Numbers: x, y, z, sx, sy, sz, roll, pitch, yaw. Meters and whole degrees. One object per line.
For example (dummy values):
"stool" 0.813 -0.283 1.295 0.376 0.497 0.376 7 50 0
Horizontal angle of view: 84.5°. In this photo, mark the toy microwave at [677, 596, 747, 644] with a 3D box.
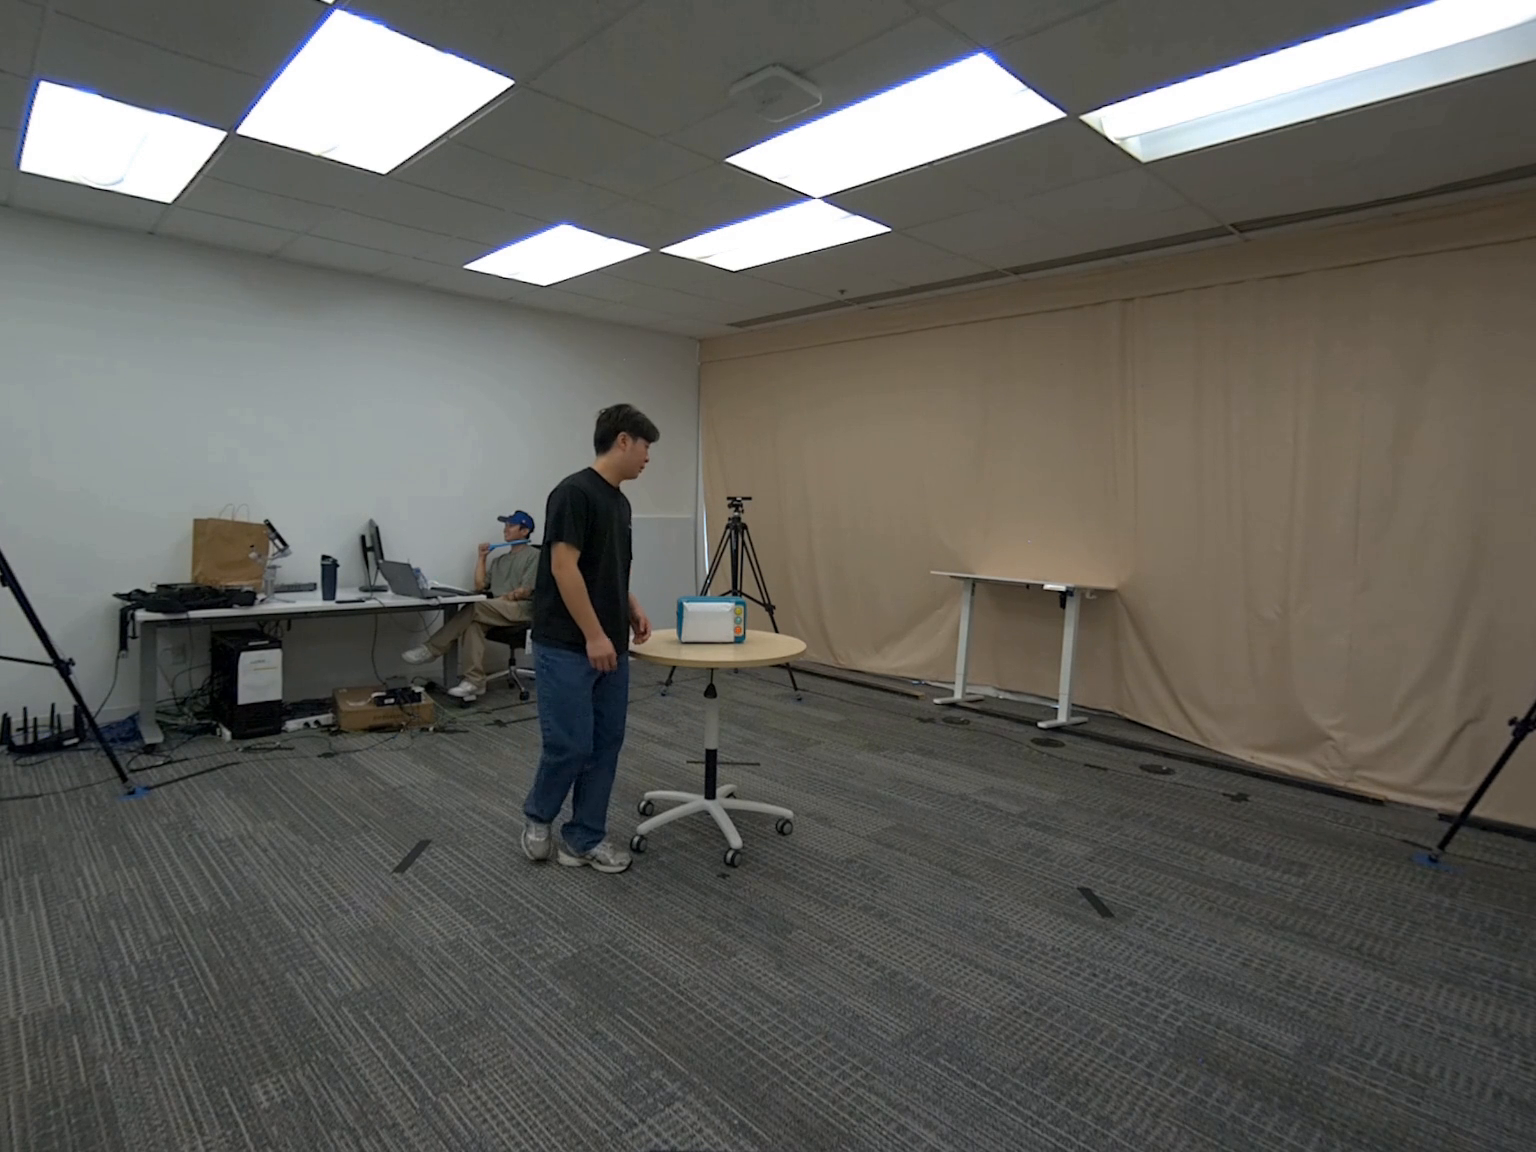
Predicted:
"toy microwave" -0.239 0.182 3.494 0.285 0.183 0.153 1 4 -6
